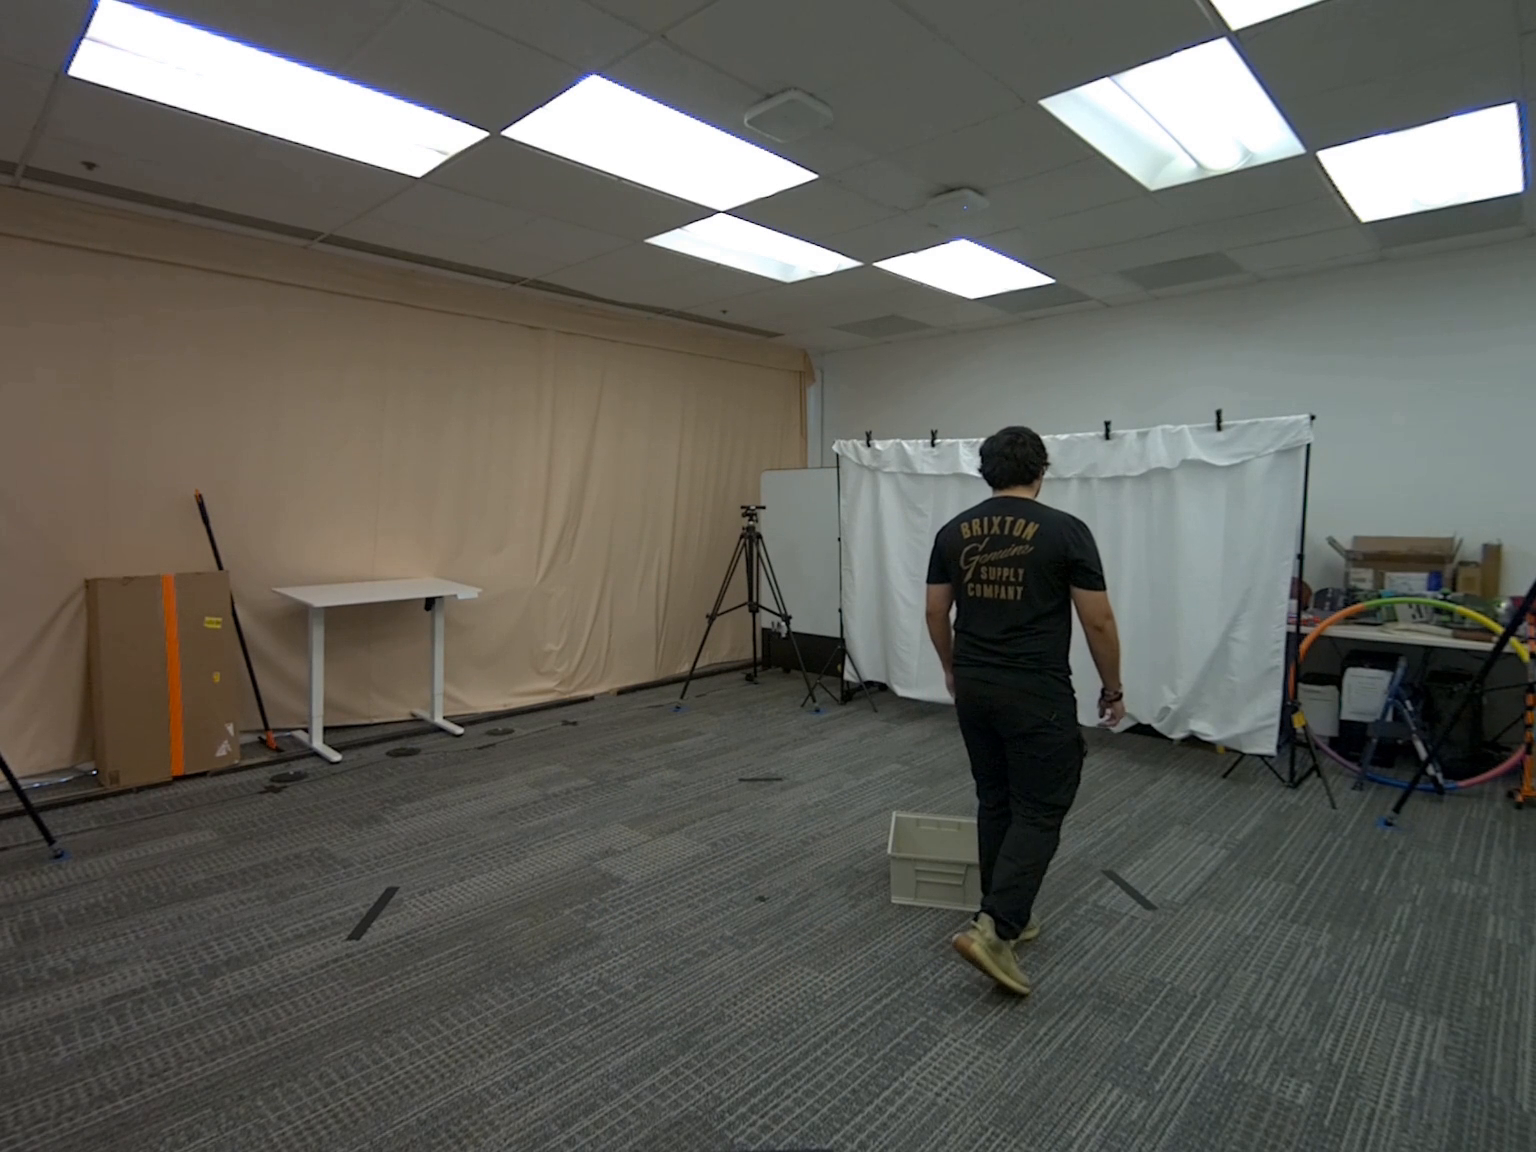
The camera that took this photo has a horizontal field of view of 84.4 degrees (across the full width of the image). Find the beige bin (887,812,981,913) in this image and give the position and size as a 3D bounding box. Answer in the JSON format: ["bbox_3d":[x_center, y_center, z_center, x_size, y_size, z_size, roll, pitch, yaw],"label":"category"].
[{"bbox_3d":[0.649,1.043,3.099,0.383,0.188,0.417,0,5,12],"label":"beige bin"}]
